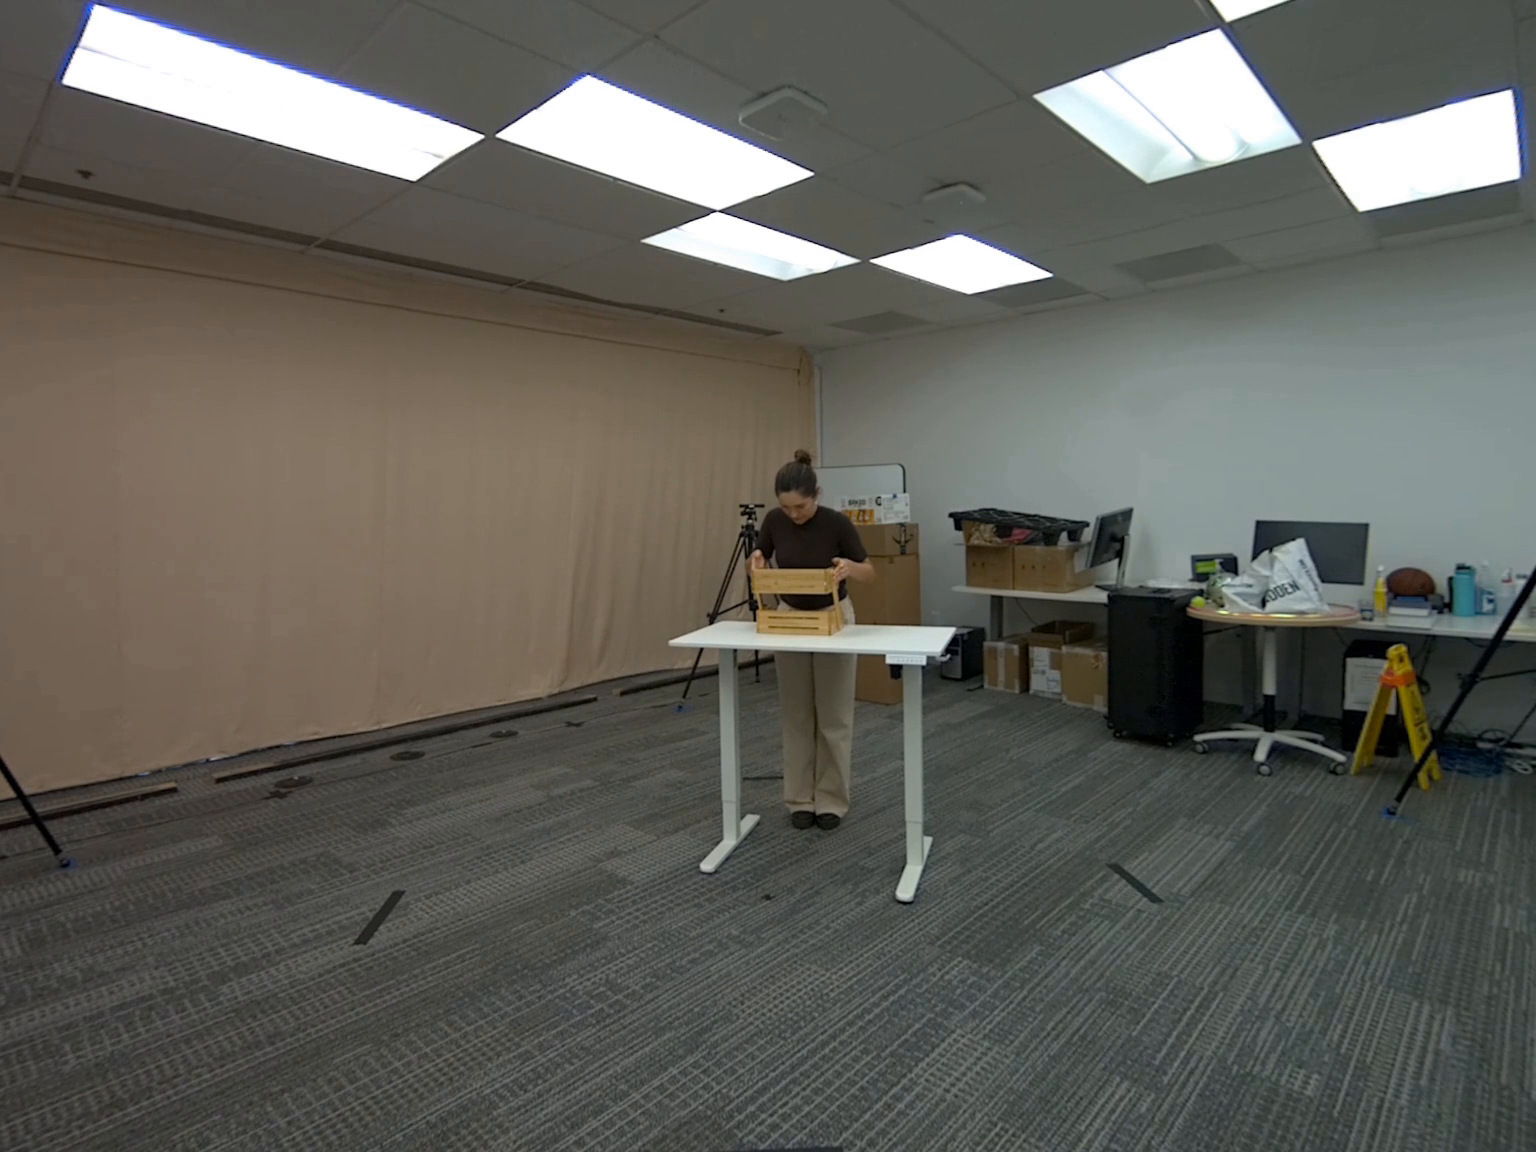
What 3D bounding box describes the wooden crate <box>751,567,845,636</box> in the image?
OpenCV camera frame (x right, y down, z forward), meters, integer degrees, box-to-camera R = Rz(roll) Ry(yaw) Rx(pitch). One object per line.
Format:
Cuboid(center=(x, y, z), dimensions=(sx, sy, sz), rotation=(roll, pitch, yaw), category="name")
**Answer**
Cuboid(center=(0.127, 0.091, 3.378), dimensions=(0.331, 0.273, 0.297), rotation=(0, 4, 18), category="wooden crate")
